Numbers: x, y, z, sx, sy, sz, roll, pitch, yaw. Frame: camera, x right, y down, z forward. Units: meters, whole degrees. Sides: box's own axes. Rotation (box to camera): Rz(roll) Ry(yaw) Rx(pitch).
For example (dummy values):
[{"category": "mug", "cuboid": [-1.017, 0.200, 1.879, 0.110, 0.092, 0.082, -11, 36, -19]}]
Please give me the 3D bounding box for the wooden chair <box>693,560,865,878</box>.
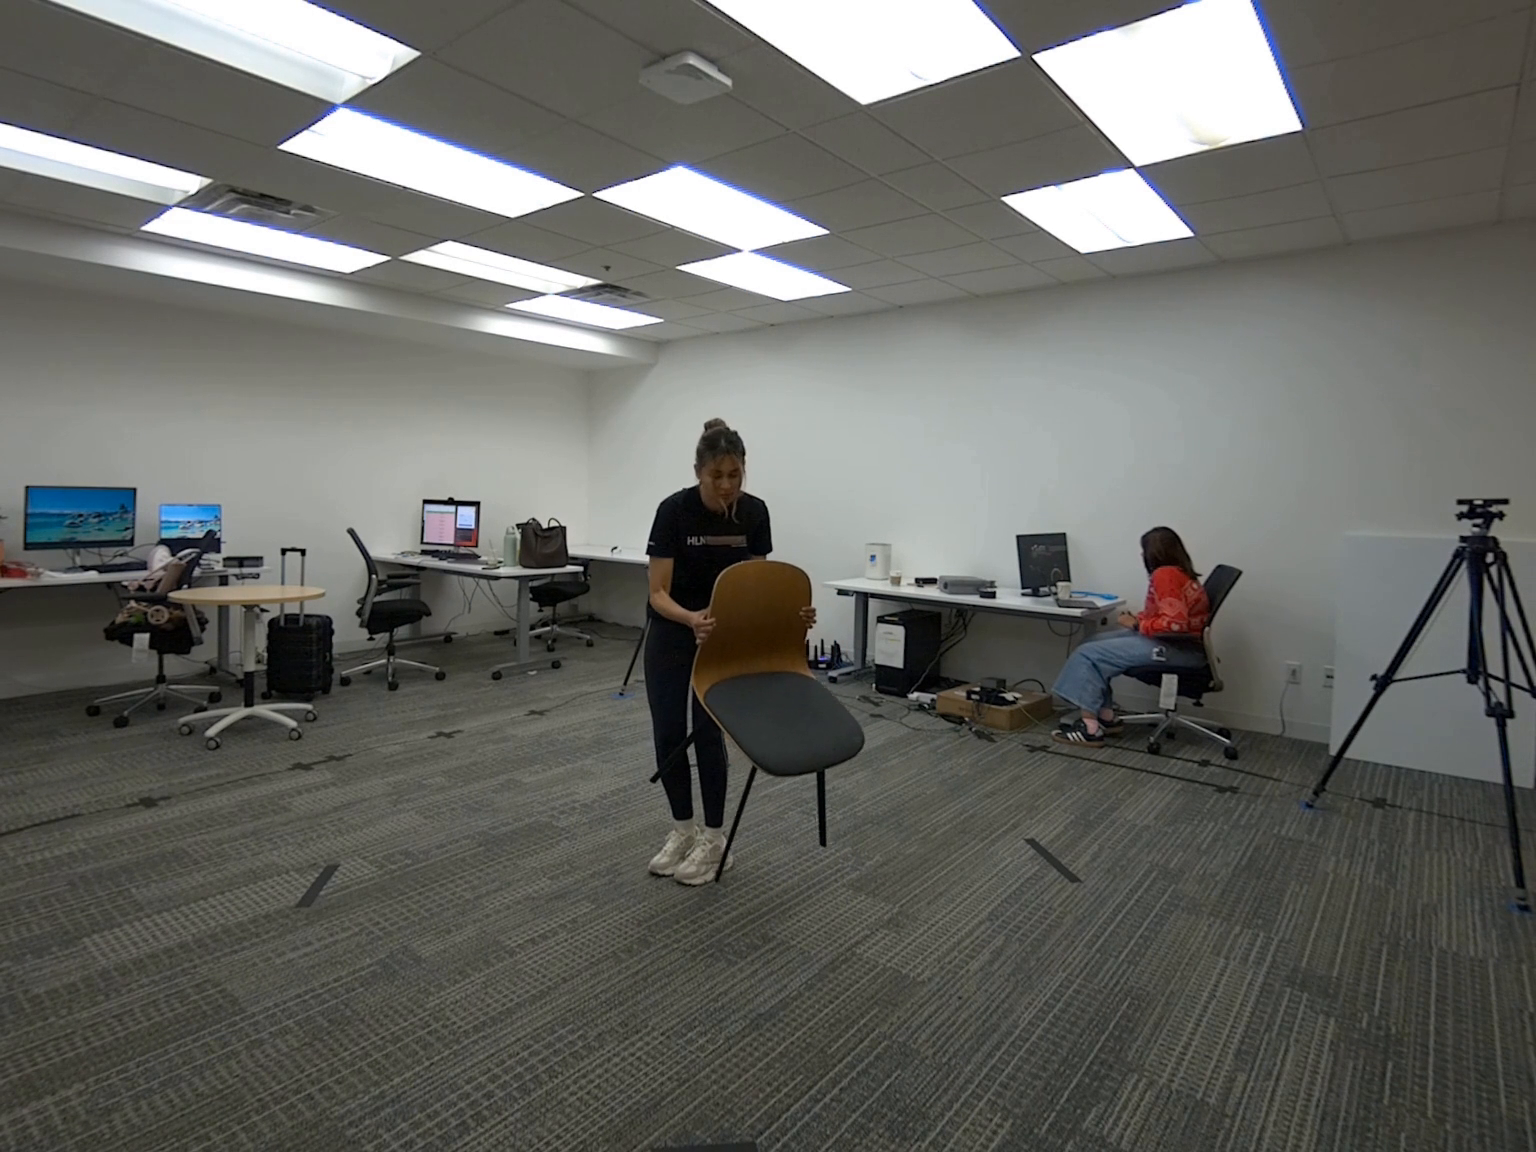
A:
[{"category": "wooden chair", "cuboid": [0.008, 0.452, 2.721, 0.464, 0.865, 0.546, -3, 28, -36]}]
